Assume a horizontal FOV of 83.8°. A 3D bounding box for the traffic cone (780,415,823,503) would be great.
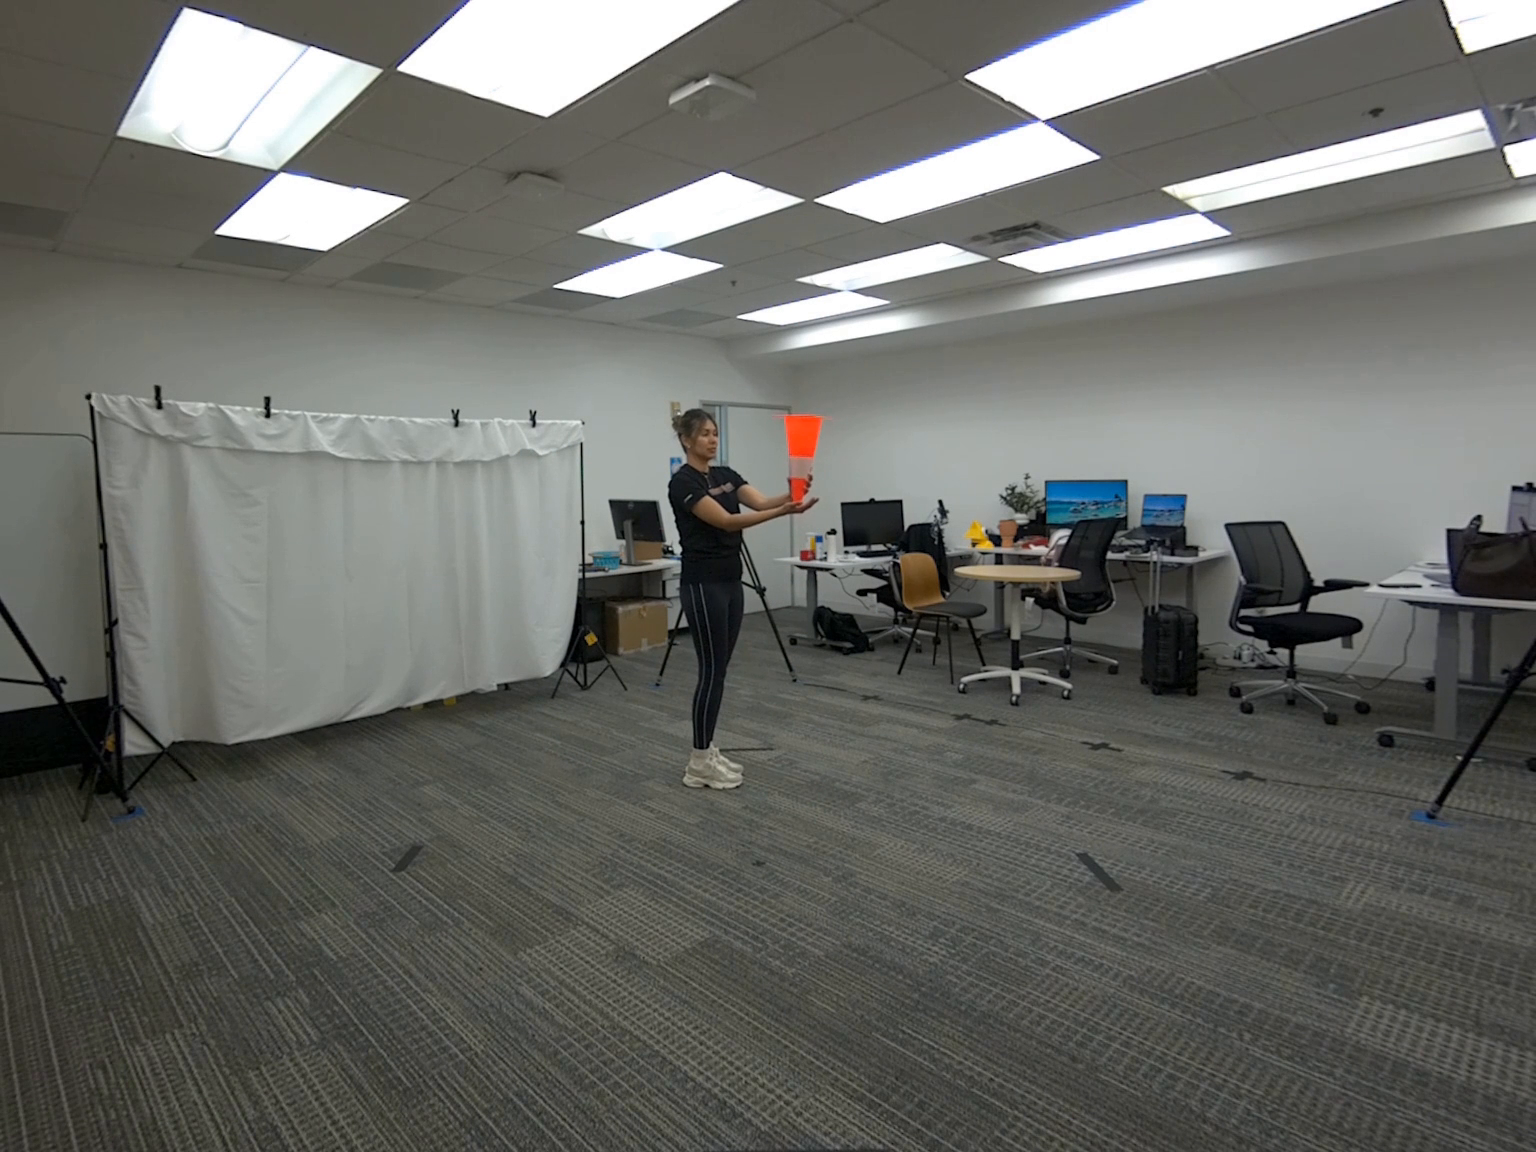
[{"bbox_3d":[0.144,-0.484,3.616,0.211,0.382,0.198,7,8,41],"label":"traffic cone"}]
